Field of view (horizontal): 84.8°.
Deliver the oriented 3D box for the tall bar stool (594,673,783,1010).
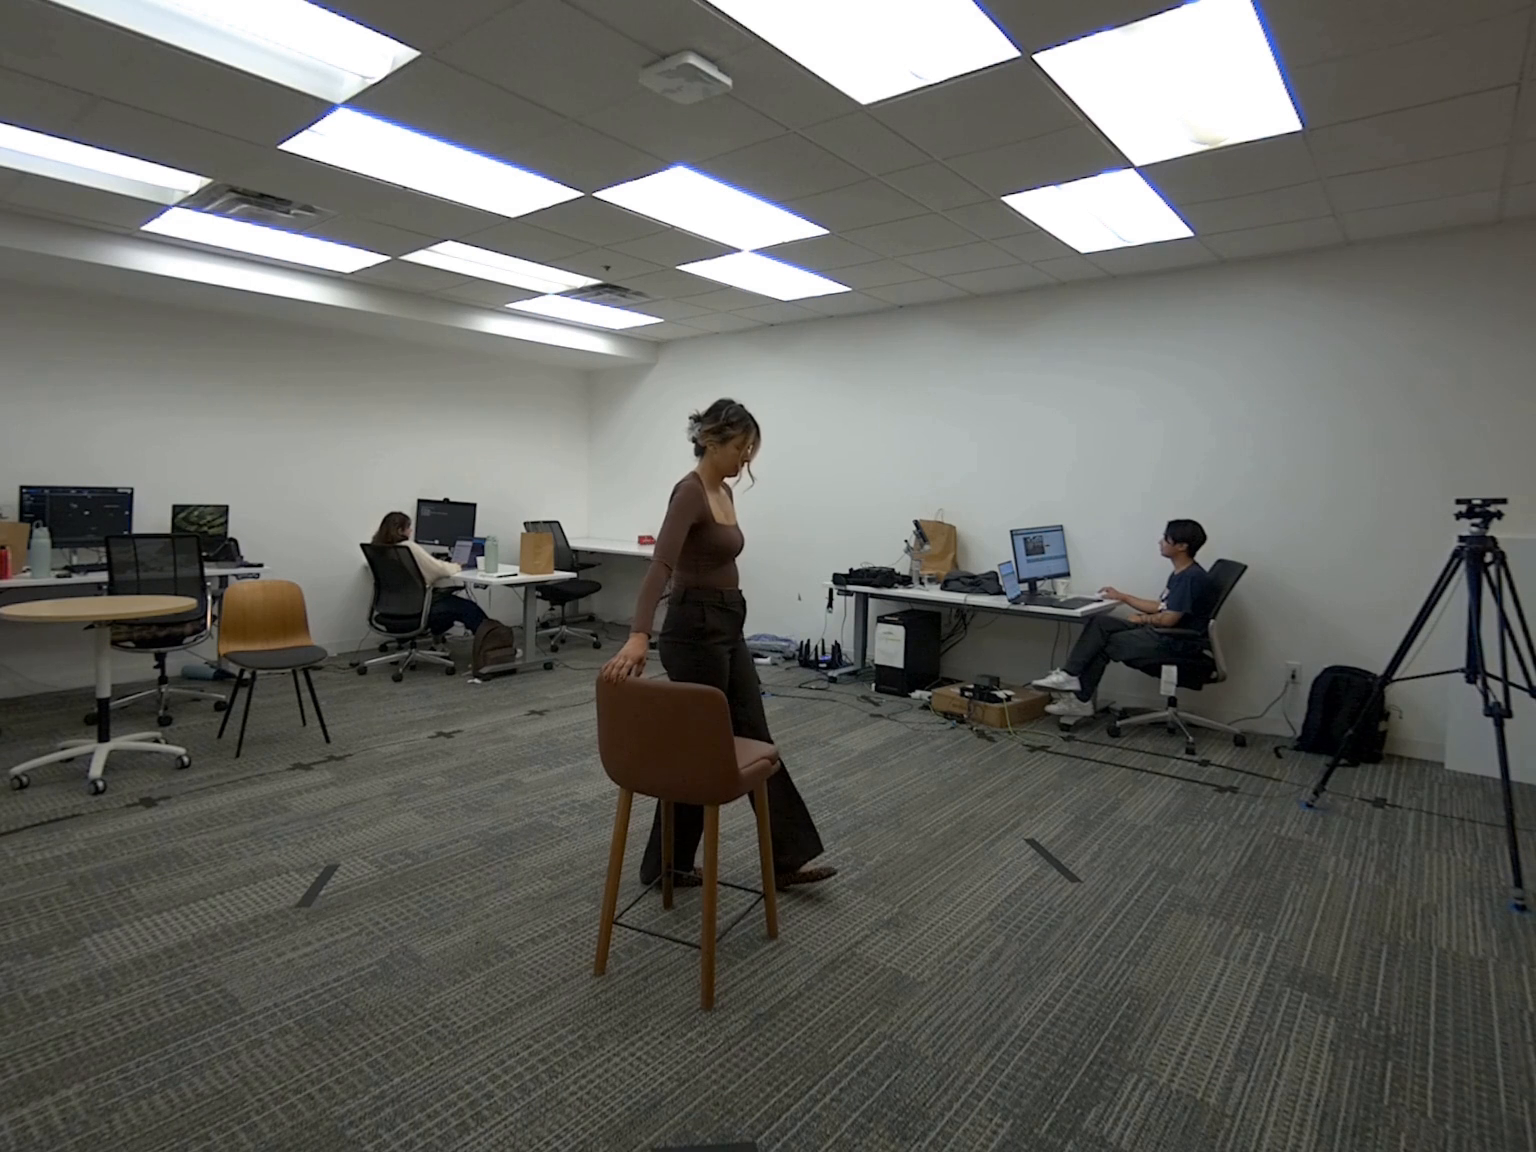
[{"bbox_3d":[-0.244,0.688,2.514,0.468,0.886,0.458,2,5,25],"label":"tall bar stool"}]
